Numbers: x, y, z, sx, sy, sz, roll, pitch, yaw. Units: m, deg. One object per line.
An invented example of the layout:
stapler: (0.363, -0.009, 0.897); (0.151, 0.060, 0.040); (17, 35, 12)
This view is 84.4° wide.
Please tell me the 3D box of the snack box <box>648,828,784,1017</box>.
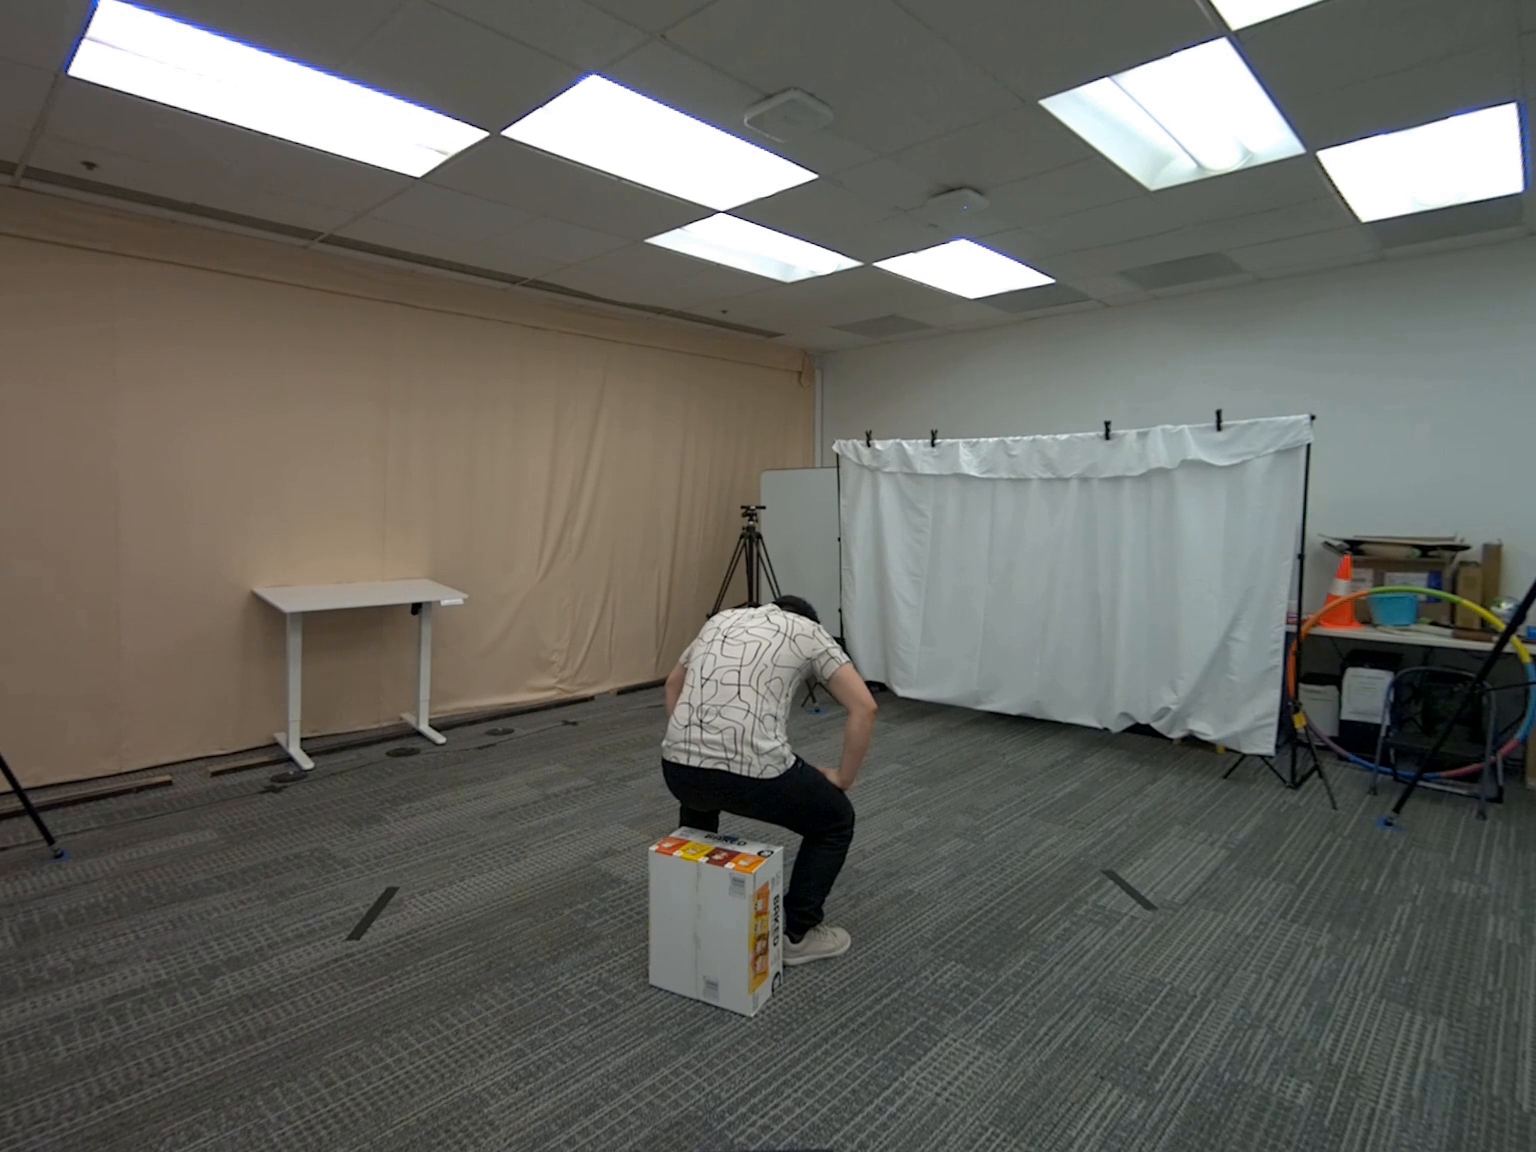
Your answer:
snack box: (-0.148, 0.988, 2.437); (0.350, 0.404, 0.200); (2, 4, 27)
